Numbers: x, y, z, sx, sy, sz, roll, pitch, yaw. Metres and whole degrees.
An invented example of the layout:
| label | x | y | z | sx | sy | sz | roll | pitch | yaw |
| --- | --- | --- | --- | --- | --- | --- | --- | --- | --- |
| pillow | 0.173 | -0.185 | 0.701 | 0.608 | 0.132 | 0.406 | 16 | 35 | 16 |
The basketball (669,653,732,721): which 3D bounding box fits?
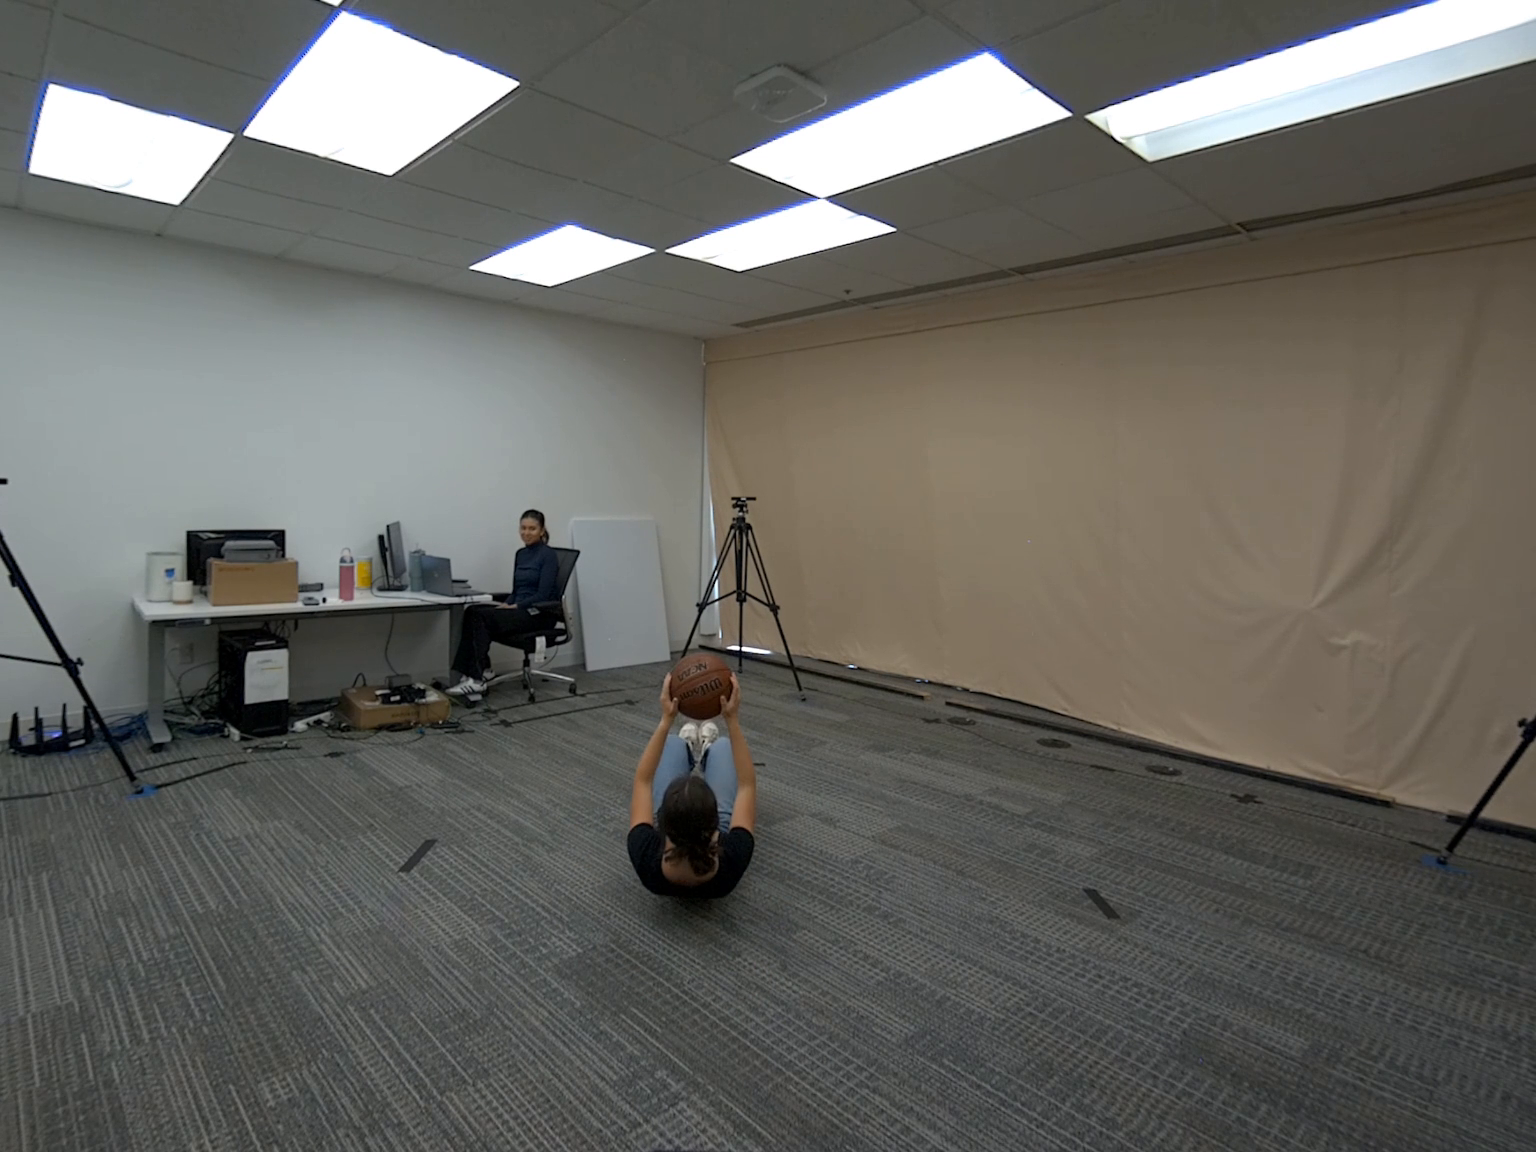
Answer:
| label | x | y | z | sx | sy | sz | roll | pitch | yaw |
| --- | --- | --- | --- | --- | --- | --- | --- | --- | --- |
| basketball | -0.243 | 0.403 | 2.988 | 0.236 | 0.235 | 0.237 | 1 | 4 | -1 |
